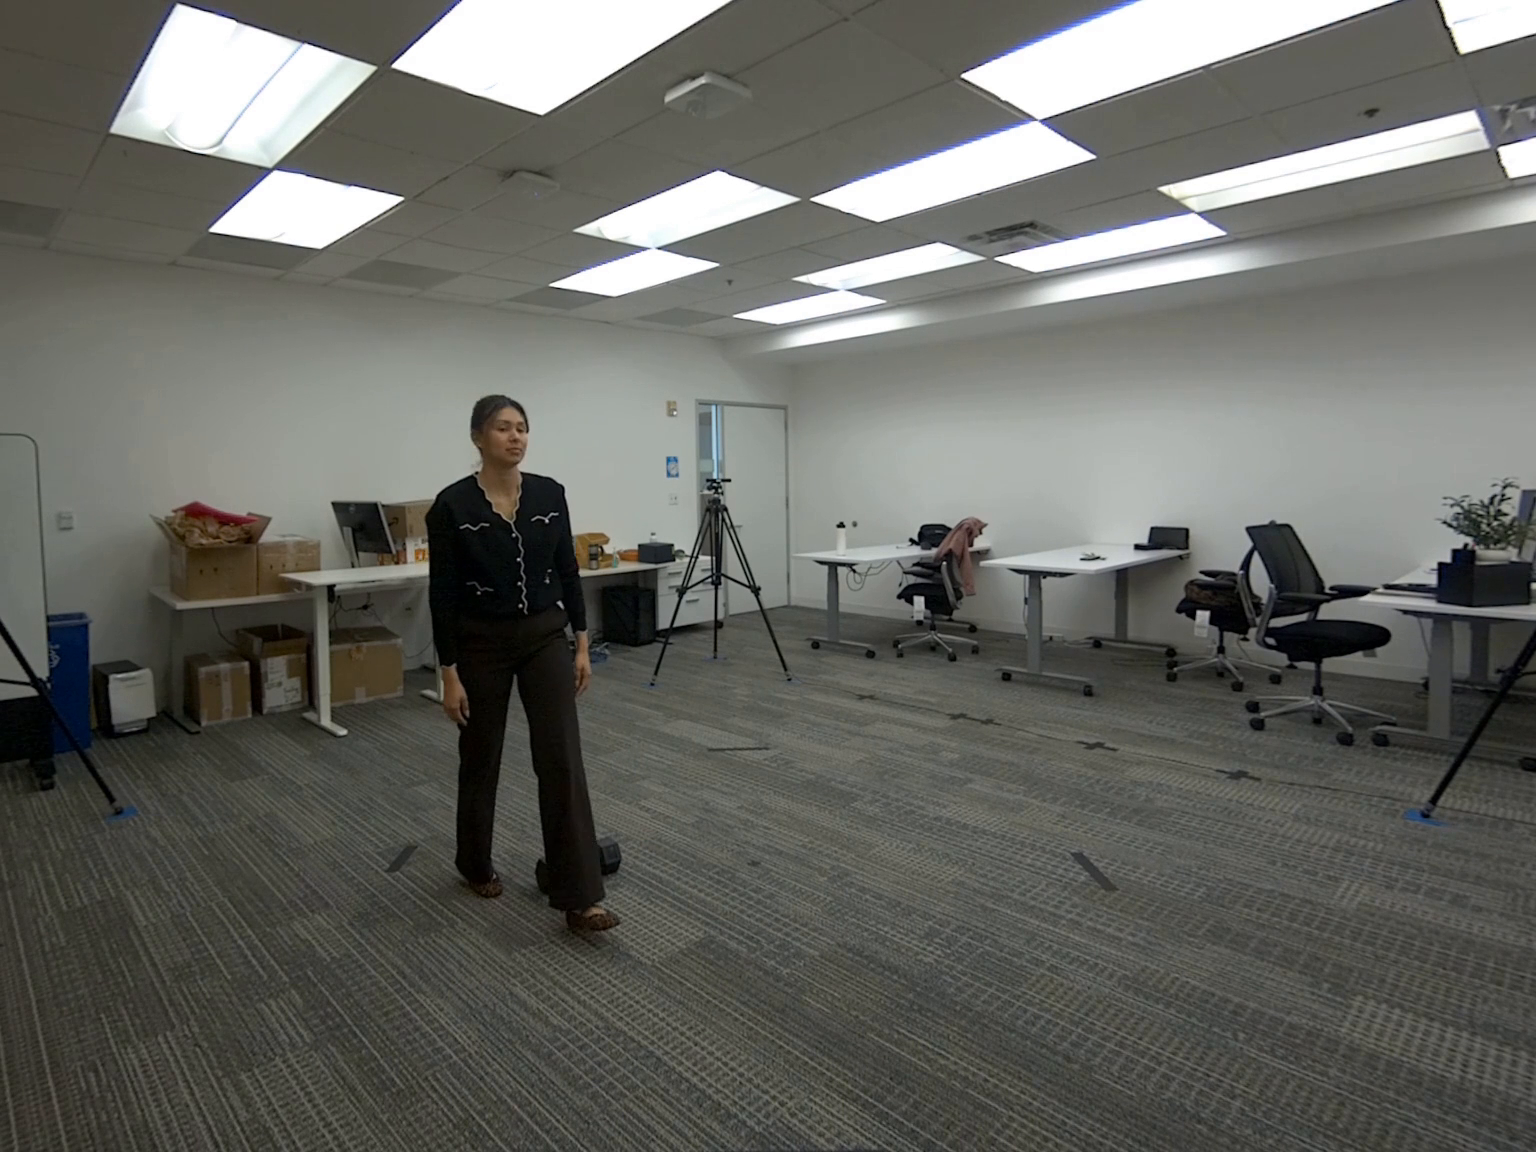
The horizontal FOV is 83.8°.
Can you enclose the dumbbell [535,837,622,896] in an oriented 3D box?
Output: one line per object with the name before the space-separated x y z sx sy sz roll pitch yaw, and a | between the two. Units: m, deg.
dumbbell | -0.660 1.014 2.999 0.286 0.126 0.109 -6 -24 -37
